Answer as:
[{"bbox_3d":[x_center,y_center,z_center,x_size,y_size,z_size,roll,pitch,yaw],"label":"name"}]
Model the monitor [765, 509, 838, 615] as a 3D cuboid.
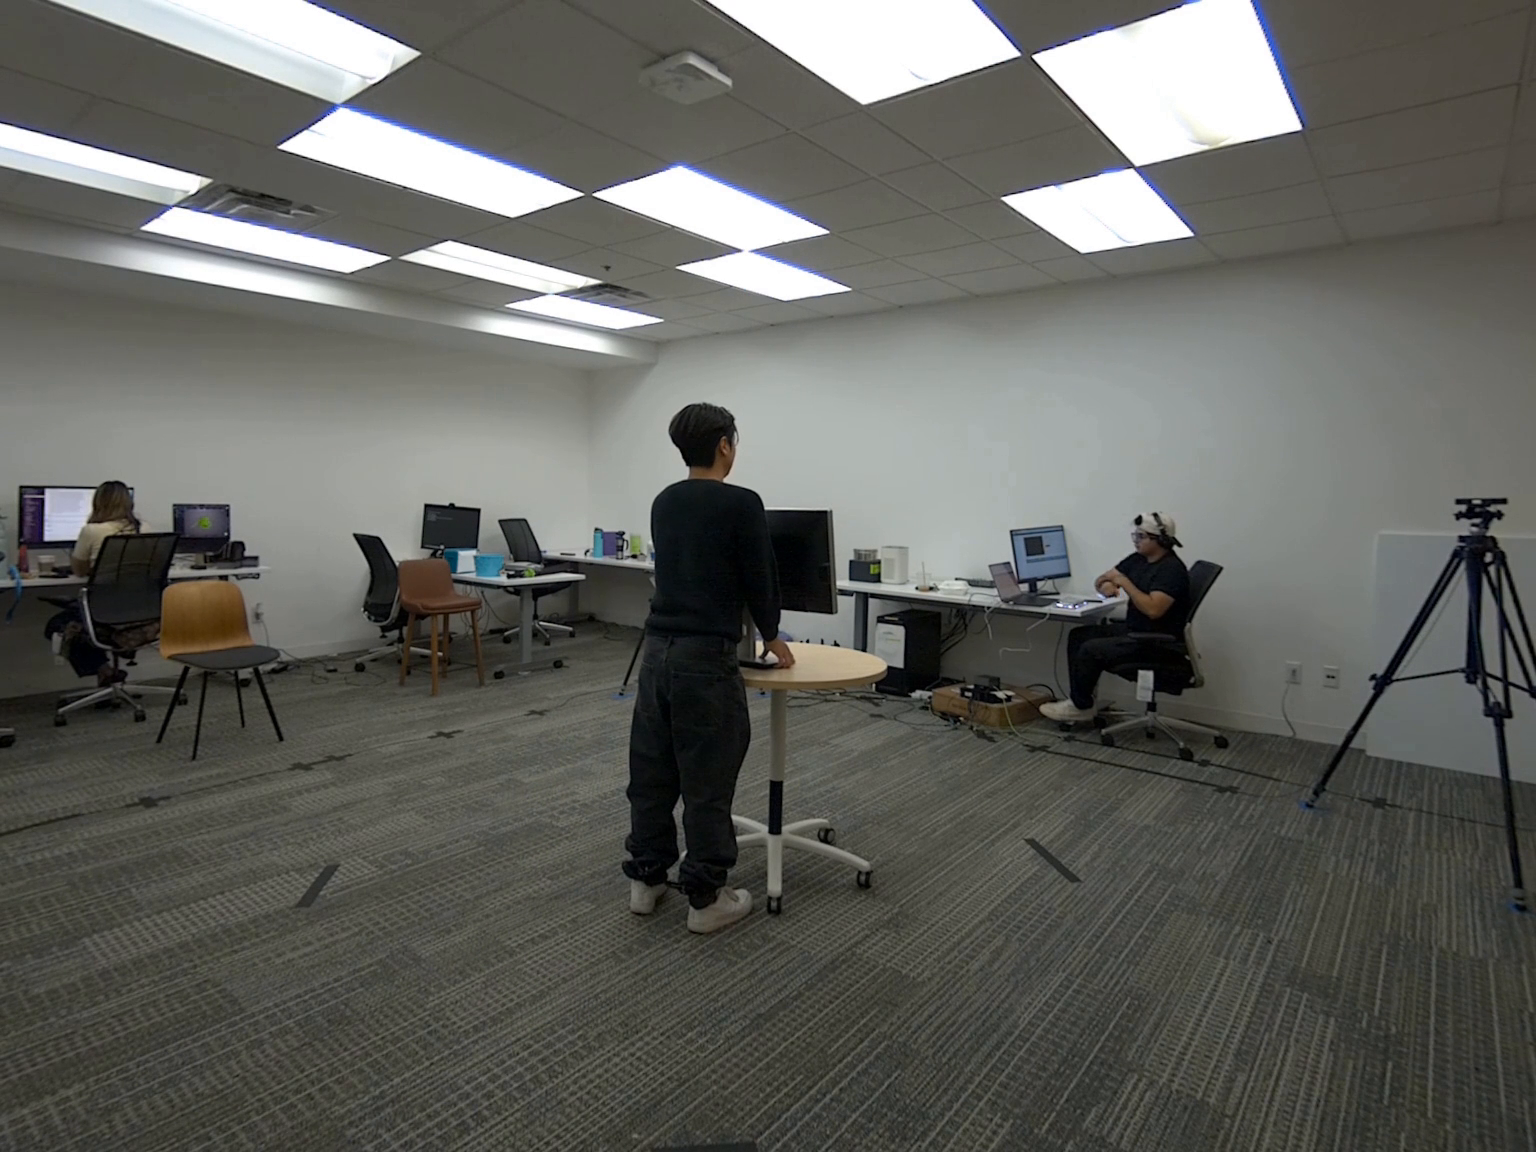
[{"bbox_3d":[-0.049,0.029,3.008,0.556,0.523,0.181,4,-1,35],"label":"monitor"}]
